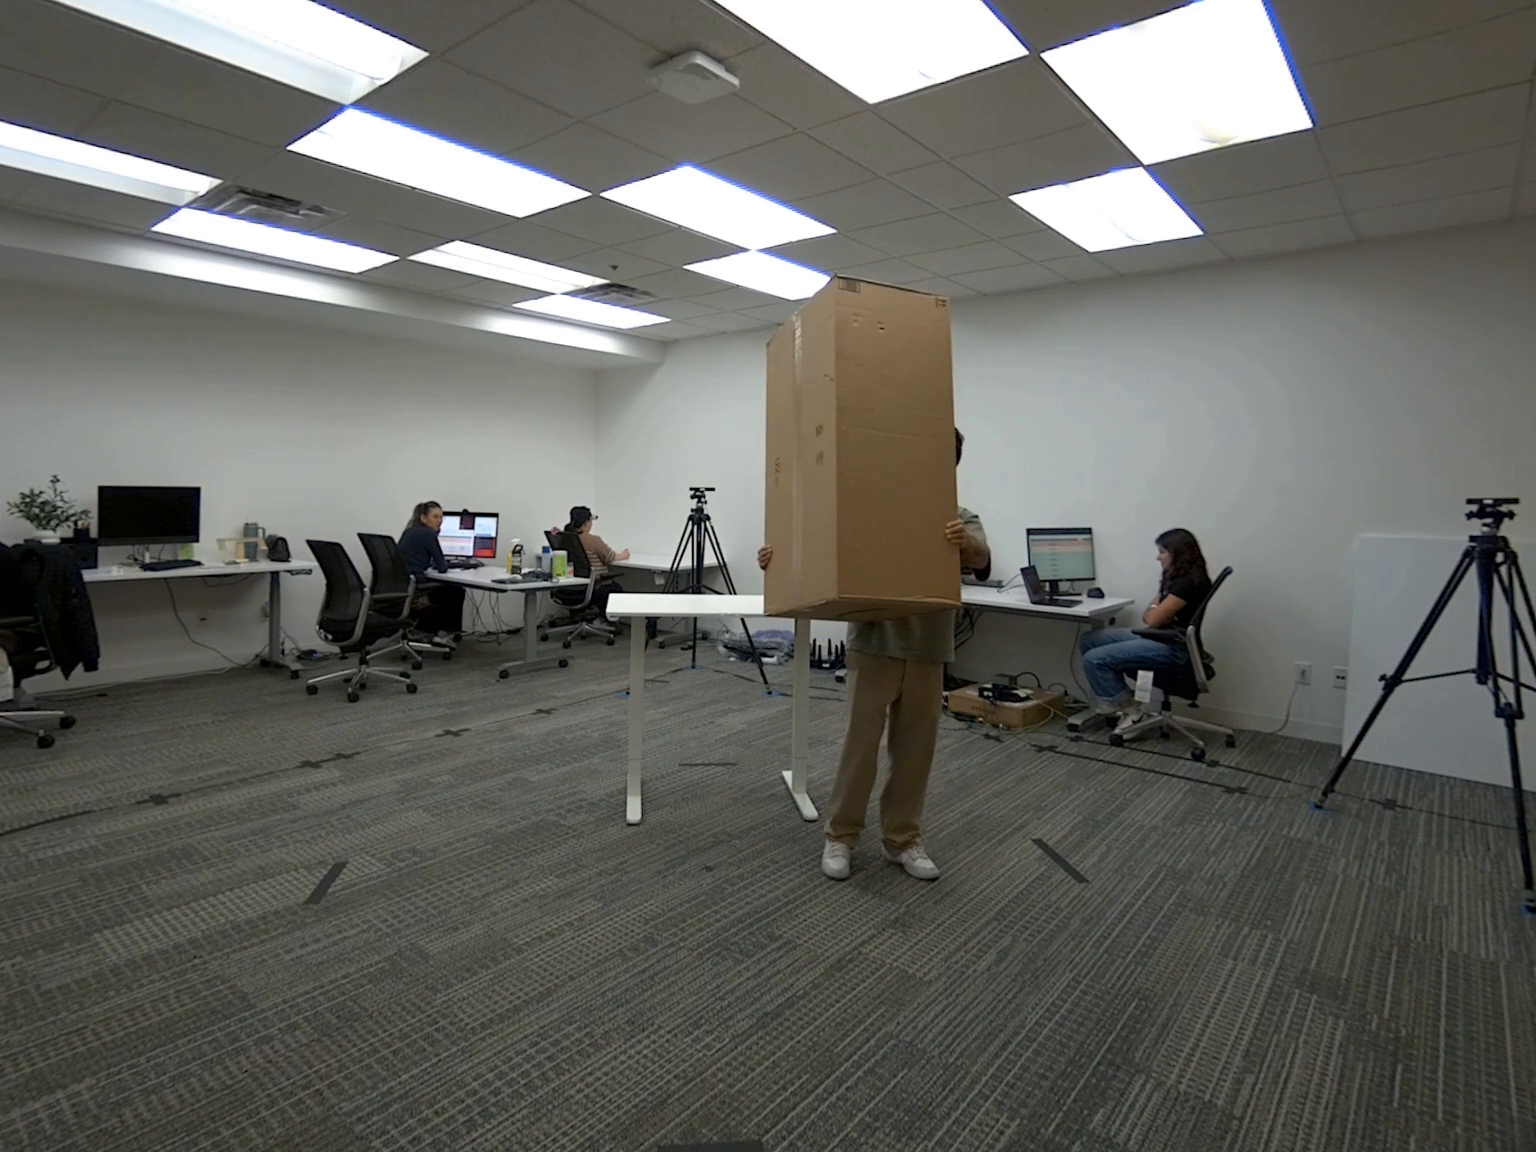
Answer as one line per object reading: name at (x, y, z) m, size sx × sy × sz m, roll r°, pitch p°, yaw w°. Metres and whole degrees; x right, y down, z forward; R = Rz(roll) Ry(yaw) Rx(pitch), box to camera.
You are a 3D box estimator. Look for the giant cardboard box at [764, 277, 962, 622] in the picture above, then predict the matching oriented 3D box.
giant cardboard box at (0.284, -0.381, 2.865) m, size 0.417 × 1.036 × 0.584 m, roll 5°, pitch -11°, yaw -21°
